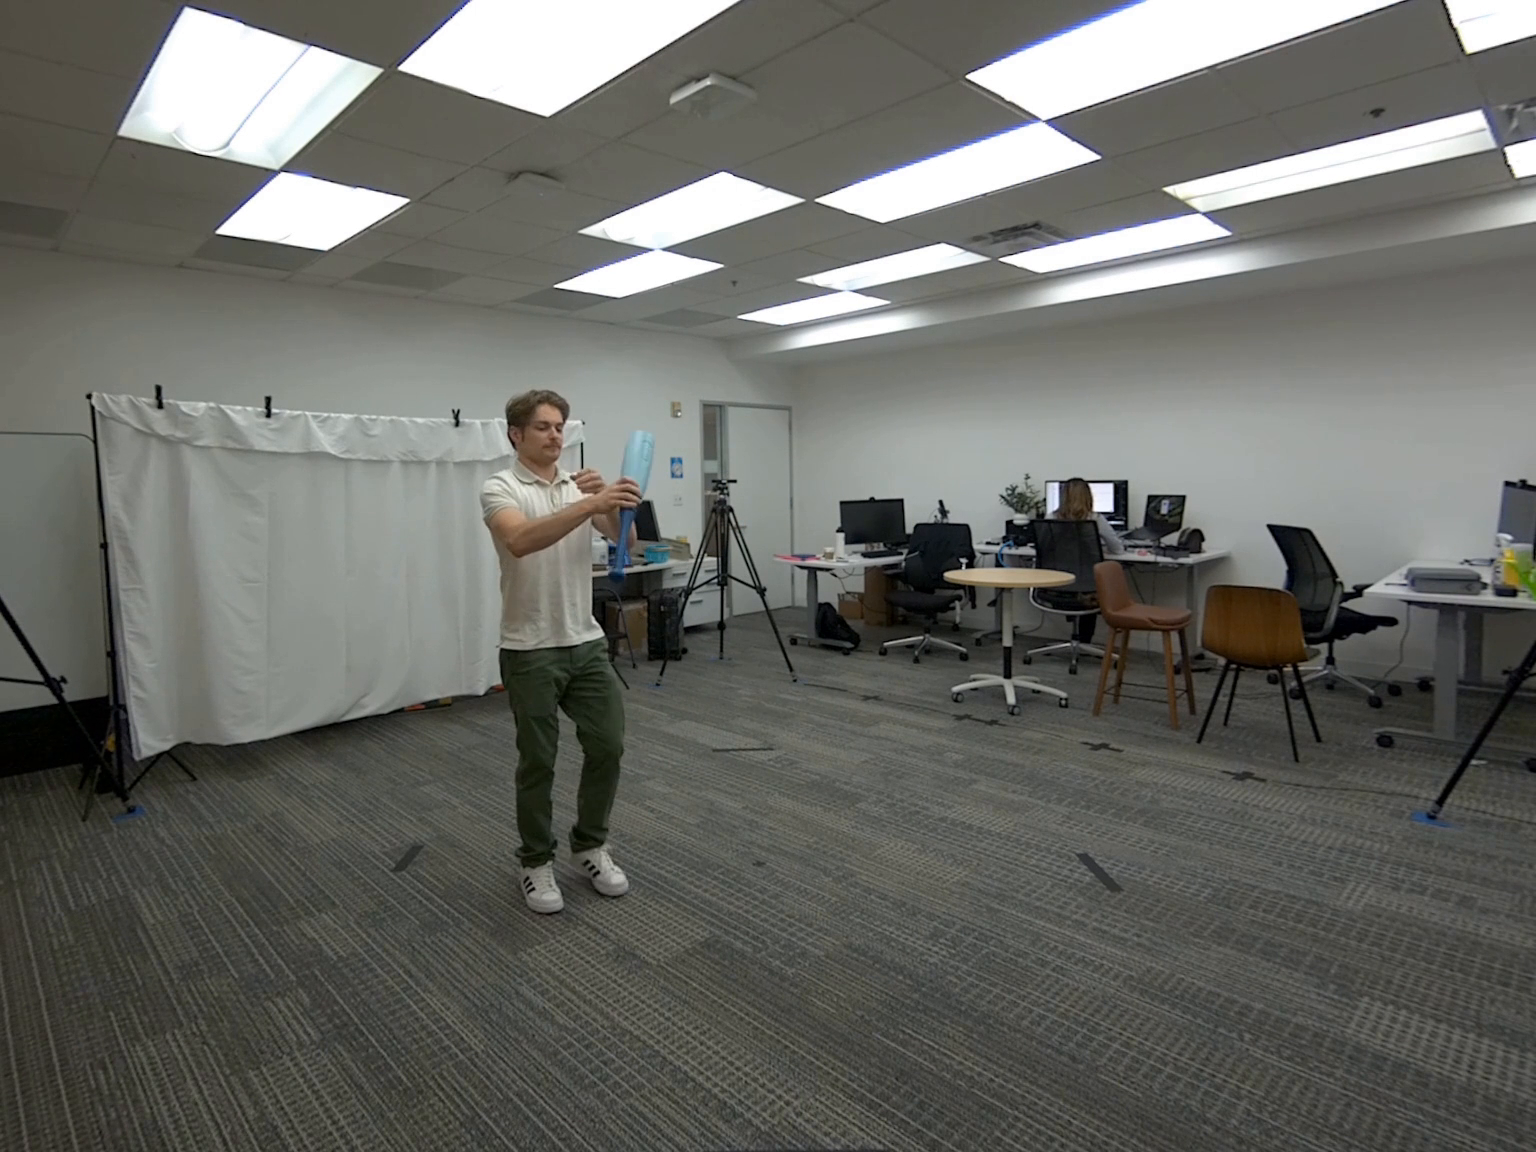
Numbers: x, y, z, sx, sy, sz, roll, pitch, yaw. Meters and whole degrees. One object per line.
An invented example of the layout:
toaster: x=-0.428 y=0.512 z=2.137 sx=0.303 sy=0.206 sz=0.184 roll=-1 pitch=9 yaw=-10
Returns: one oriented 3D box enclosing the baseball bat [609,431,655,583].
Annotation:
baseball bat: x=-0.411 y=-0.206 z=2.510 sx=0.089 sy=0.555 sz=0.087 roll=4 pitch=-36 yaw=1
